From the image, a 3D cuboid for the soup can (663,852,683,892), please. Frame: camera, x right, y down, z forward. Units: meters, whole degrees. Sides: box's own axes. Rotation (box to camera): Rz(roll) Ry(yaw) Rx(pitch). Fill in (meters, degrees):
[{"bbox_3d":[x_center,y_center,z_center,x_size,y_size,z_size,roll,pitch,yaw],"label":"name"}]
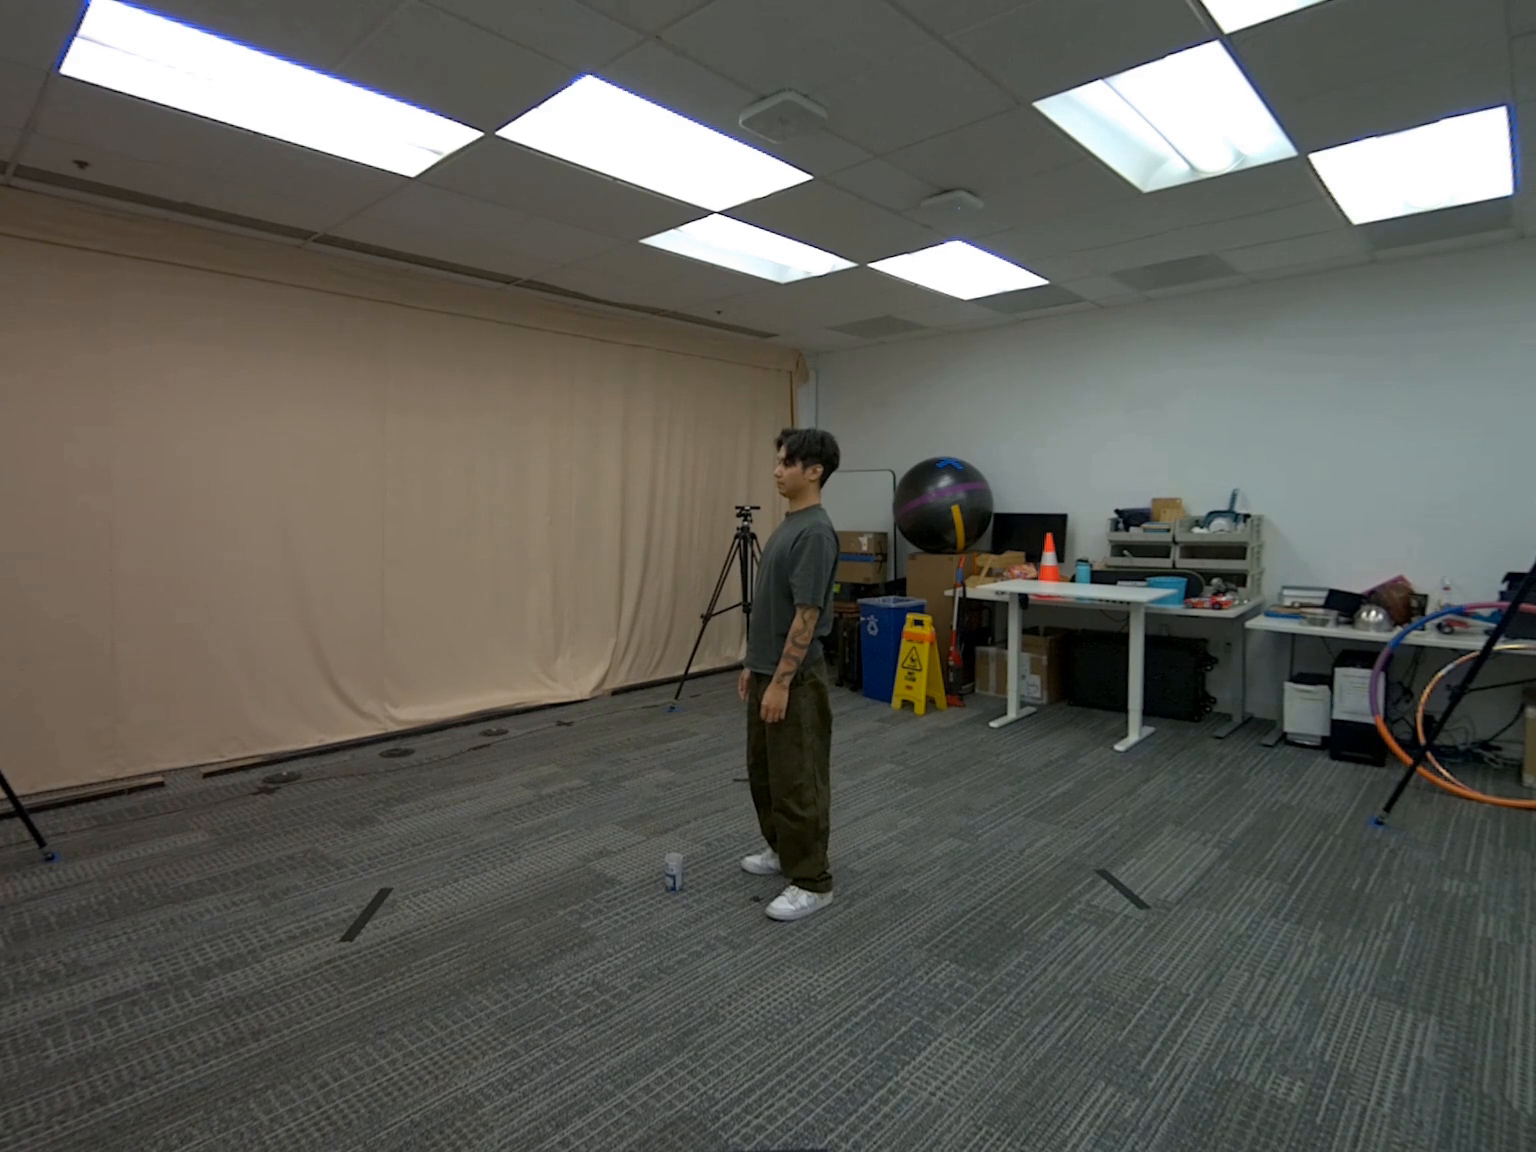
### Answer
[{"bbox_3d":[-0.339,1.079,3.062,0.067,0.121,0.067,-1,4,-2],"label":"soup can"}]
